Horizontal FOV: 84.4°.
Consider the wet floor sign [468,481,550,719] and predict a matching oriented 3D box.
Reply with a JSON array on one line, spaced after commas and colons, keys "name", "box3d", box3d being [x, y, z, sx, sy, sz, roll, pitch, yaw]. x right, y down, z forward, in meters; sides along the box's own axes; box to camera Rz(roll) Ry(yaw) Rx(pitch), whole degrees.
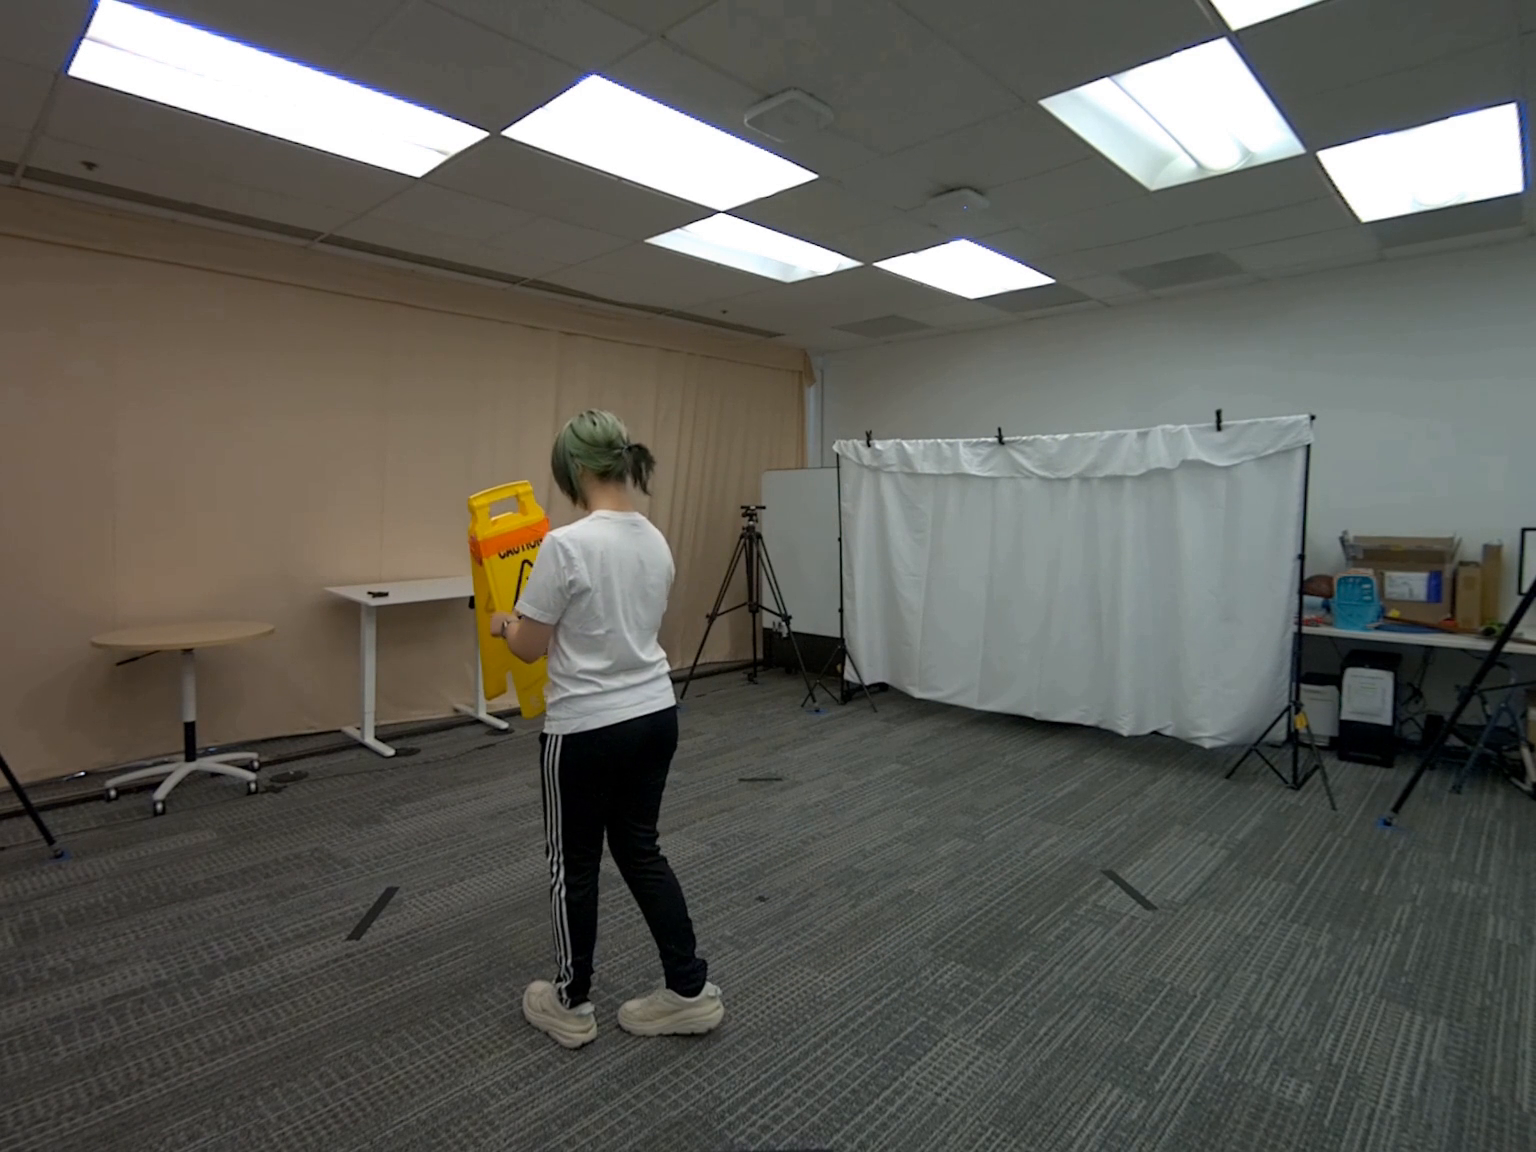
[{"name": "wet floor sign", "box3d": [-0.734, 0.055, 2.501, 0.300, 0.638, 0.276, 8, 22, 44]}]
